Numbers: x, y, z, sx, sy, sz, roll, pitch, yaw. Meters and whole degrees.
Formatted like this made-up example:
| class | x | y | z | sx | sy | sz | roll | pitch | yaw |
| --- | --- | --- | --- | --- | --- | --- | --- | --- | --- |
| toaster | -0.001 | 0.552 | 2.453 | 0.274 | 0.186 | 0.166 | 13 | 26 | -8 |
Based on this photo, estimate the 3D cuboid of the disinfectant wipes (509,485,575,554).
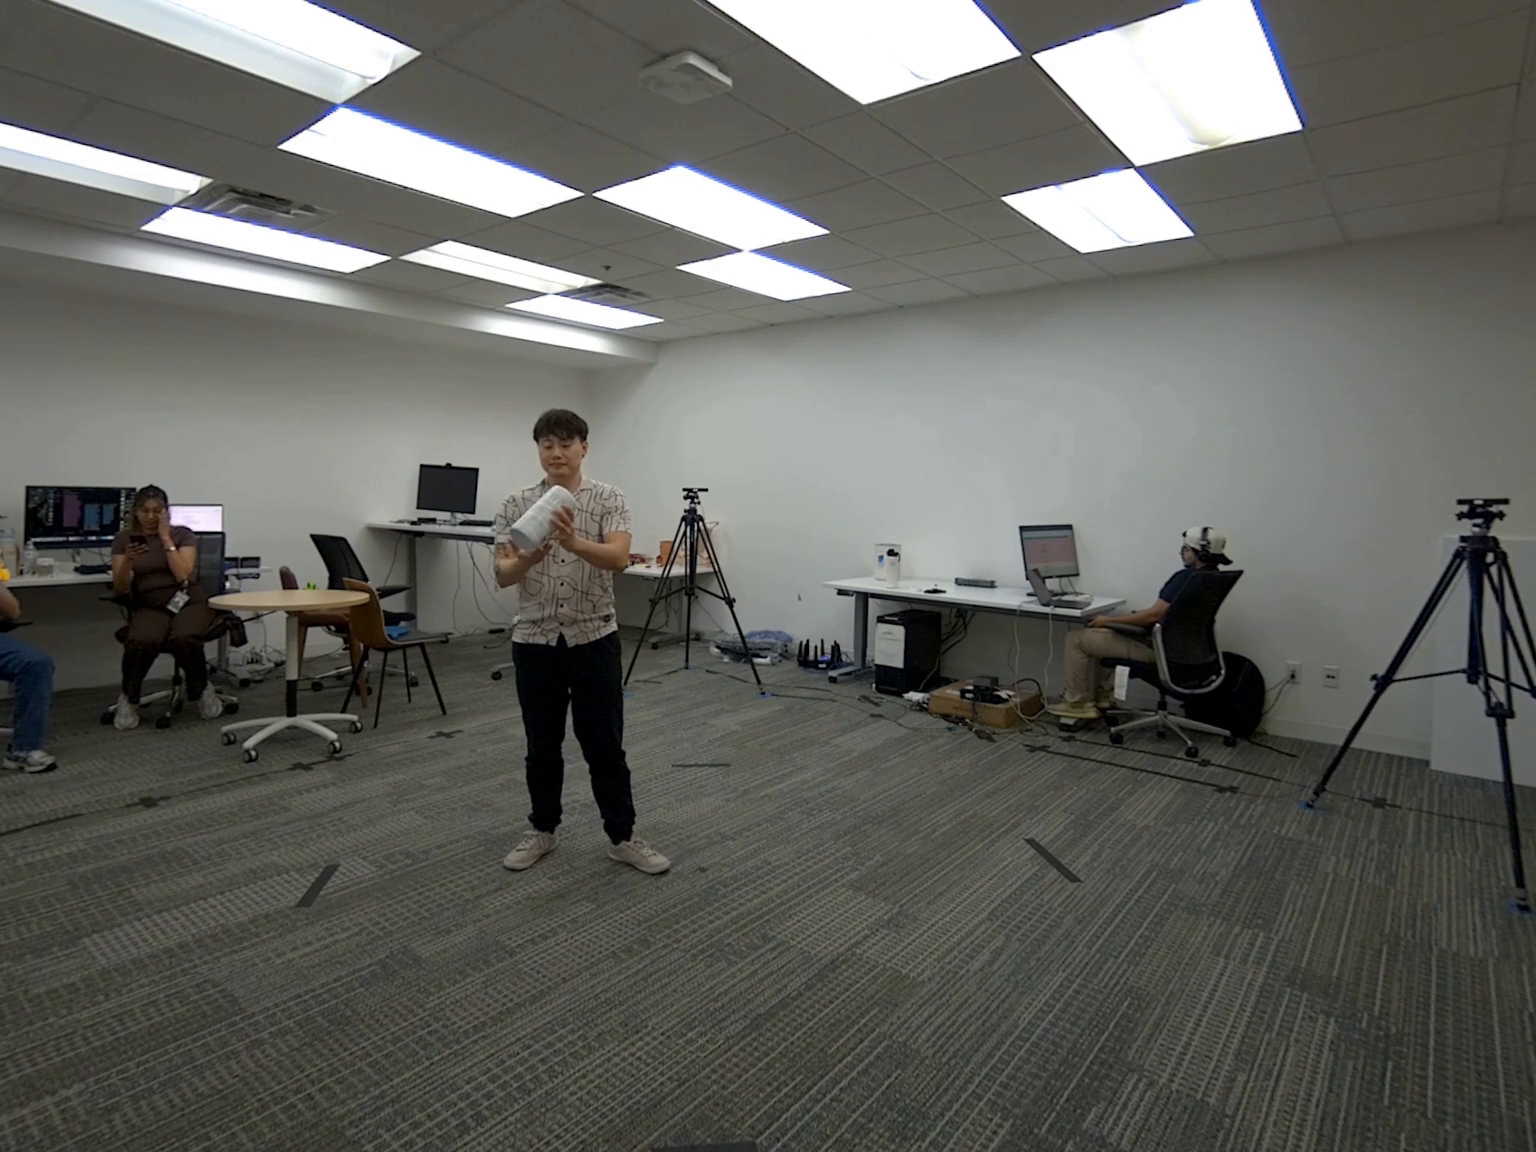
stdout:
| class | x | y | z | sx | sy | sz | roll | pitch | yaw |
| --- | --- | --- | --- | --- | --- | --- | --- | --- | --- |
| disinfectant wipes | -0.729 | -0.189 | 2.736 | 0.122 | 0.113 | 0.218 | 4 | 49 | 44 |
